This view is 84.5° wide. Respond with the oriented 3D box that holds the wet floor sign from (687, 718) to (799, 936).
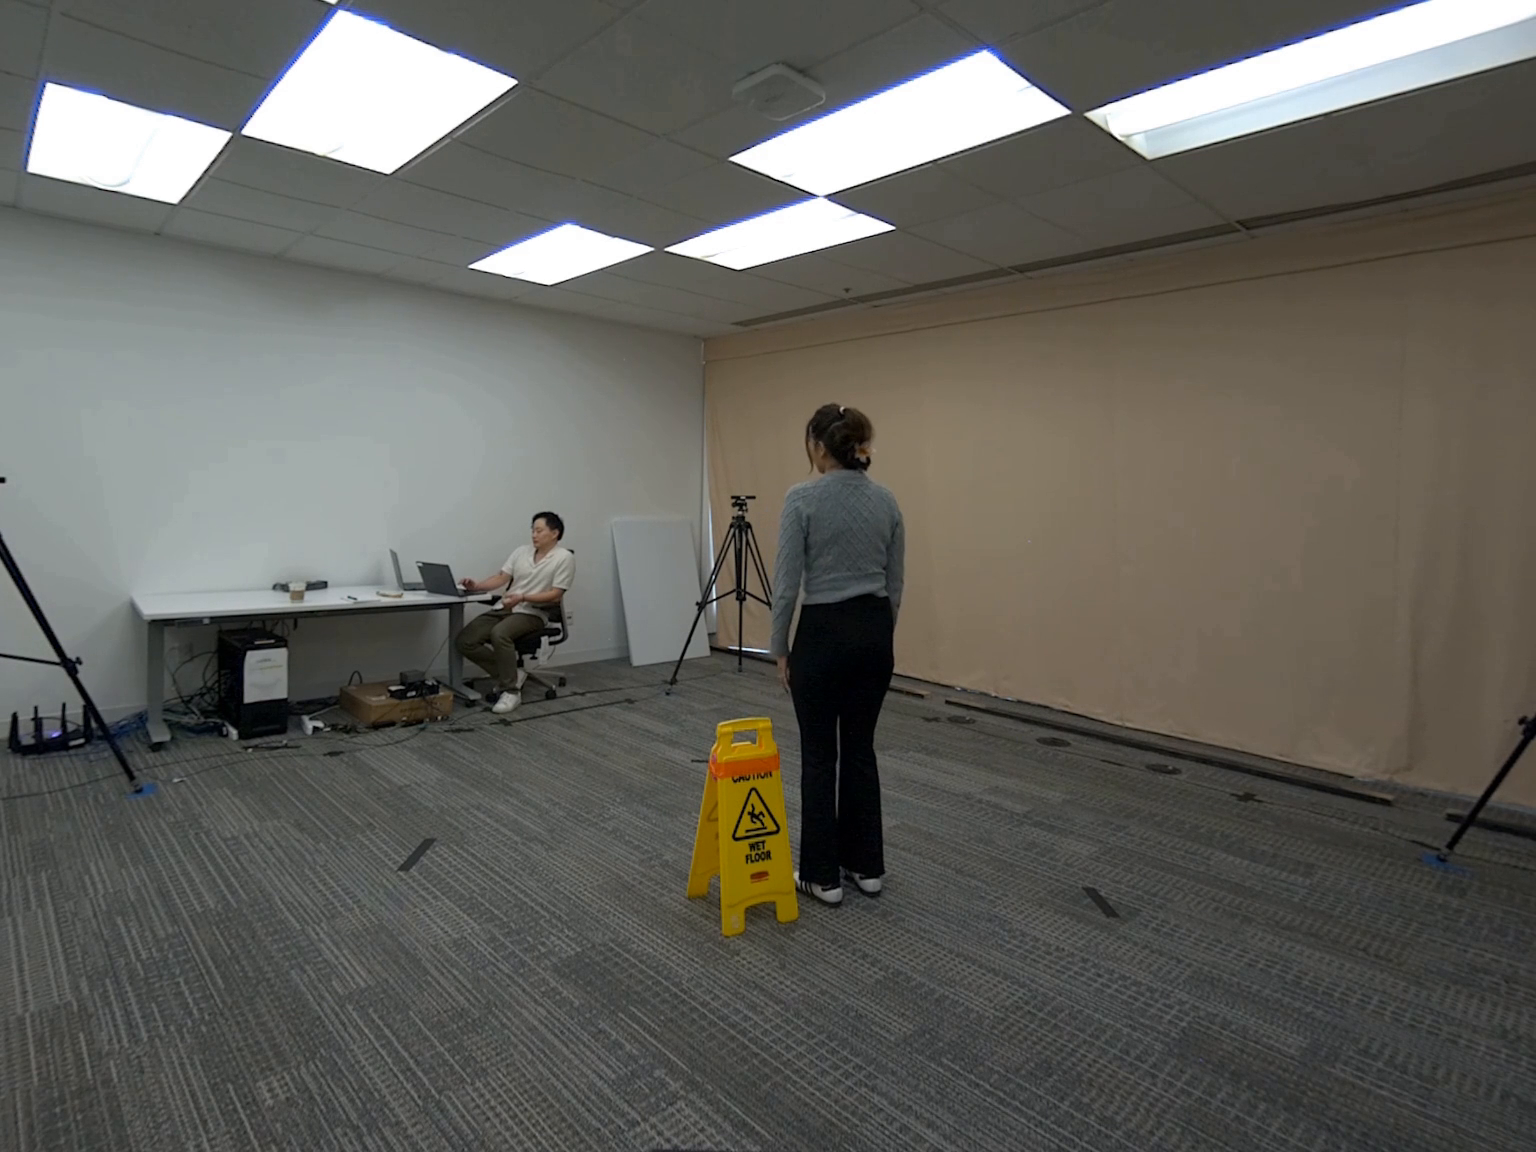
[{"bbox_3d":[-0.093,0.805,2.832,0.277,0.645,0.296,0,3,-29],"label":"wet floor sign"}]
